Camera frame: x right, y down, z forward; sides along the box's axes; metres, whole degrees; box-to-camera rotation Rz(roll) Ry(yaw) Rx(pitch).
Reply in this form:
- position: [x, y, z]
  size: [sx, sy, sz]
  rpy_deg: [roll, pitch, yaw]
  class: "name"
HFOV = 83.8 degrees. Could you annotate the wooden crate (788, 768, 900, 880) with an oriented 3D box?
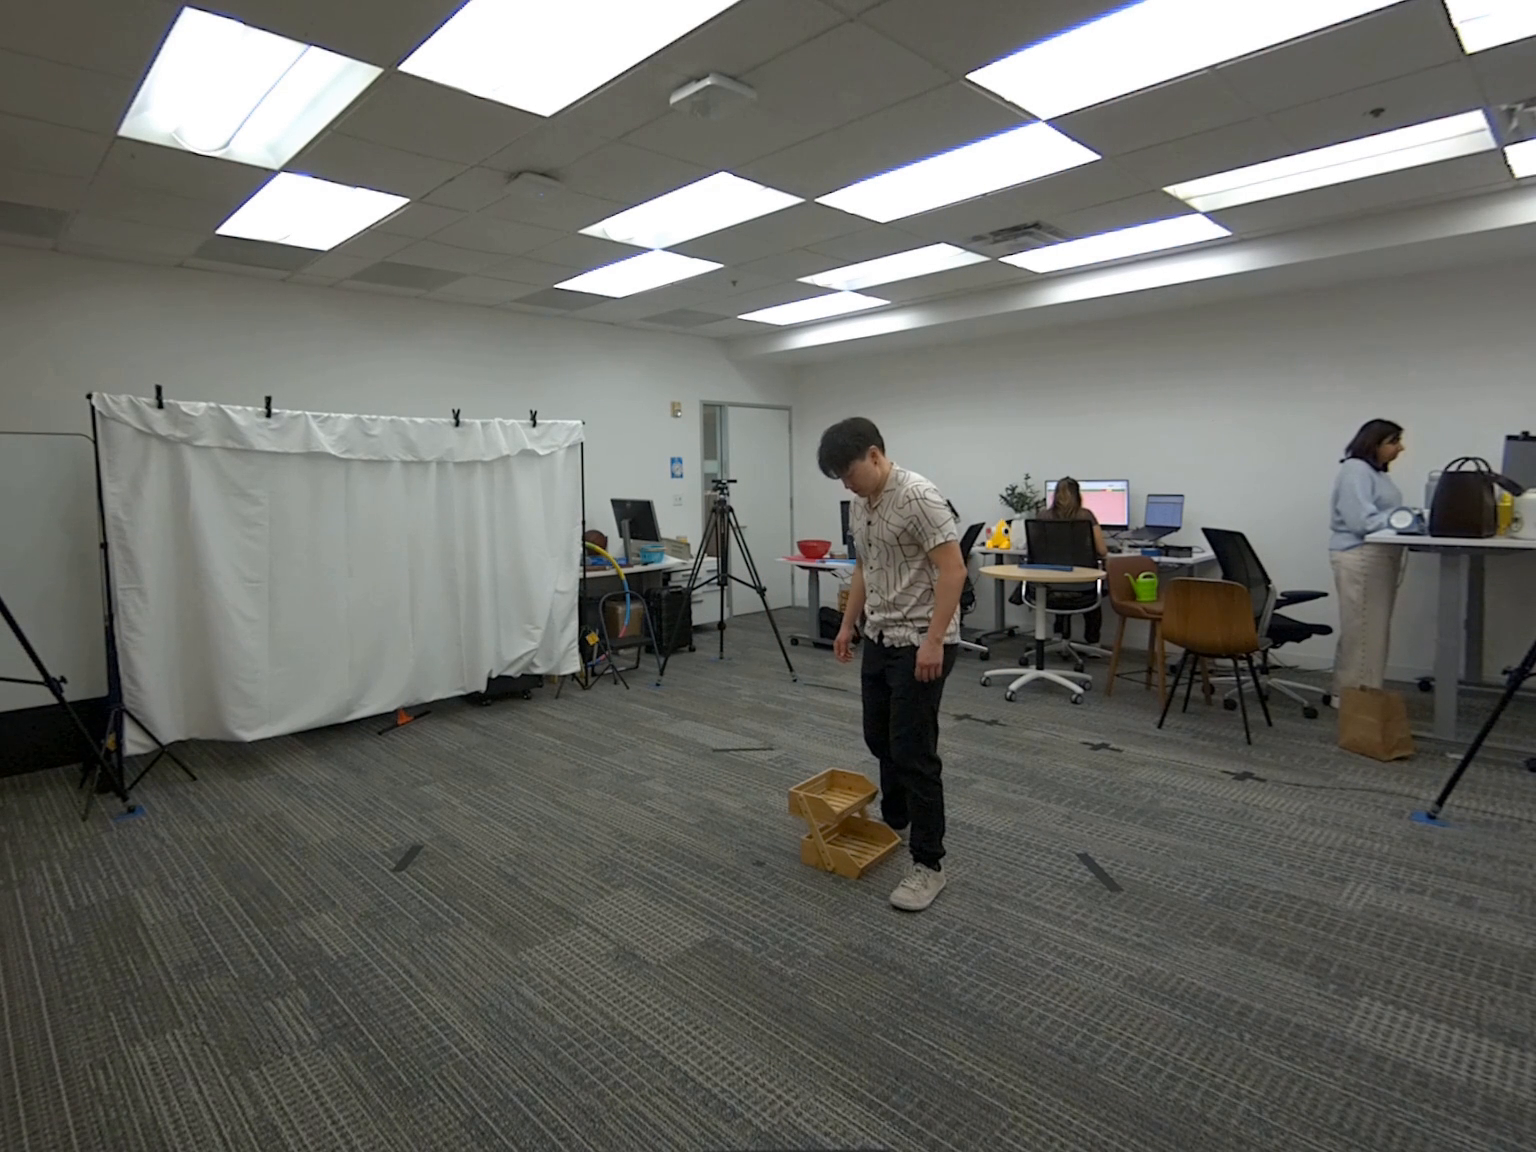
- position: [0.288, 0.901, 3.161]
  size: [0.311, 0.272, 0.316]
  rpy_deg: [2, 5, 38]
  class: "wooden crate"
